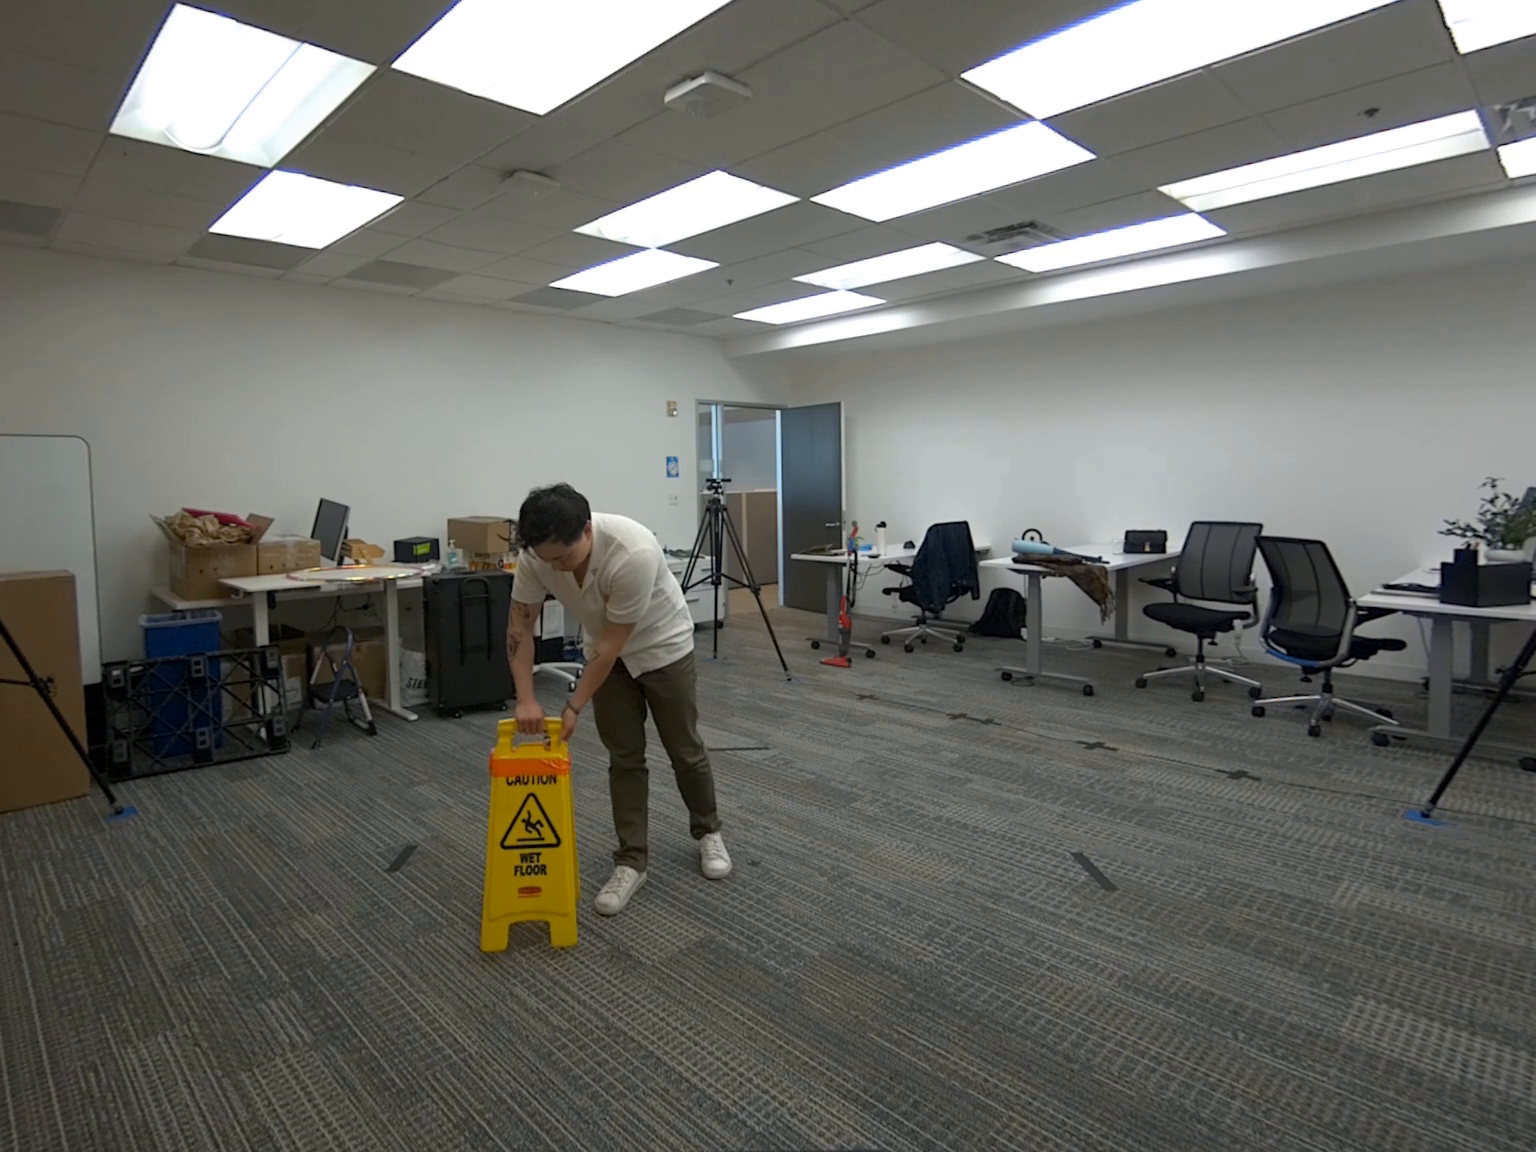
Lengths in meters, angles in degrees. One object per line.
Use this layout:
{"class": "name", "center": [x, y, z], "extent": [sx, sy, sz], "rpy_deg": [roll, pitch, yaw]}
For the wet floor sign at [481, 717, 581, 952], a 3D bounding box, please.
{"class": "wet floor sign", "center": [-0.726, 0.759, 2.622], "extent": [0.280, 0.644, 0.293], "rpy_deg": [-2, 4, -8]}
